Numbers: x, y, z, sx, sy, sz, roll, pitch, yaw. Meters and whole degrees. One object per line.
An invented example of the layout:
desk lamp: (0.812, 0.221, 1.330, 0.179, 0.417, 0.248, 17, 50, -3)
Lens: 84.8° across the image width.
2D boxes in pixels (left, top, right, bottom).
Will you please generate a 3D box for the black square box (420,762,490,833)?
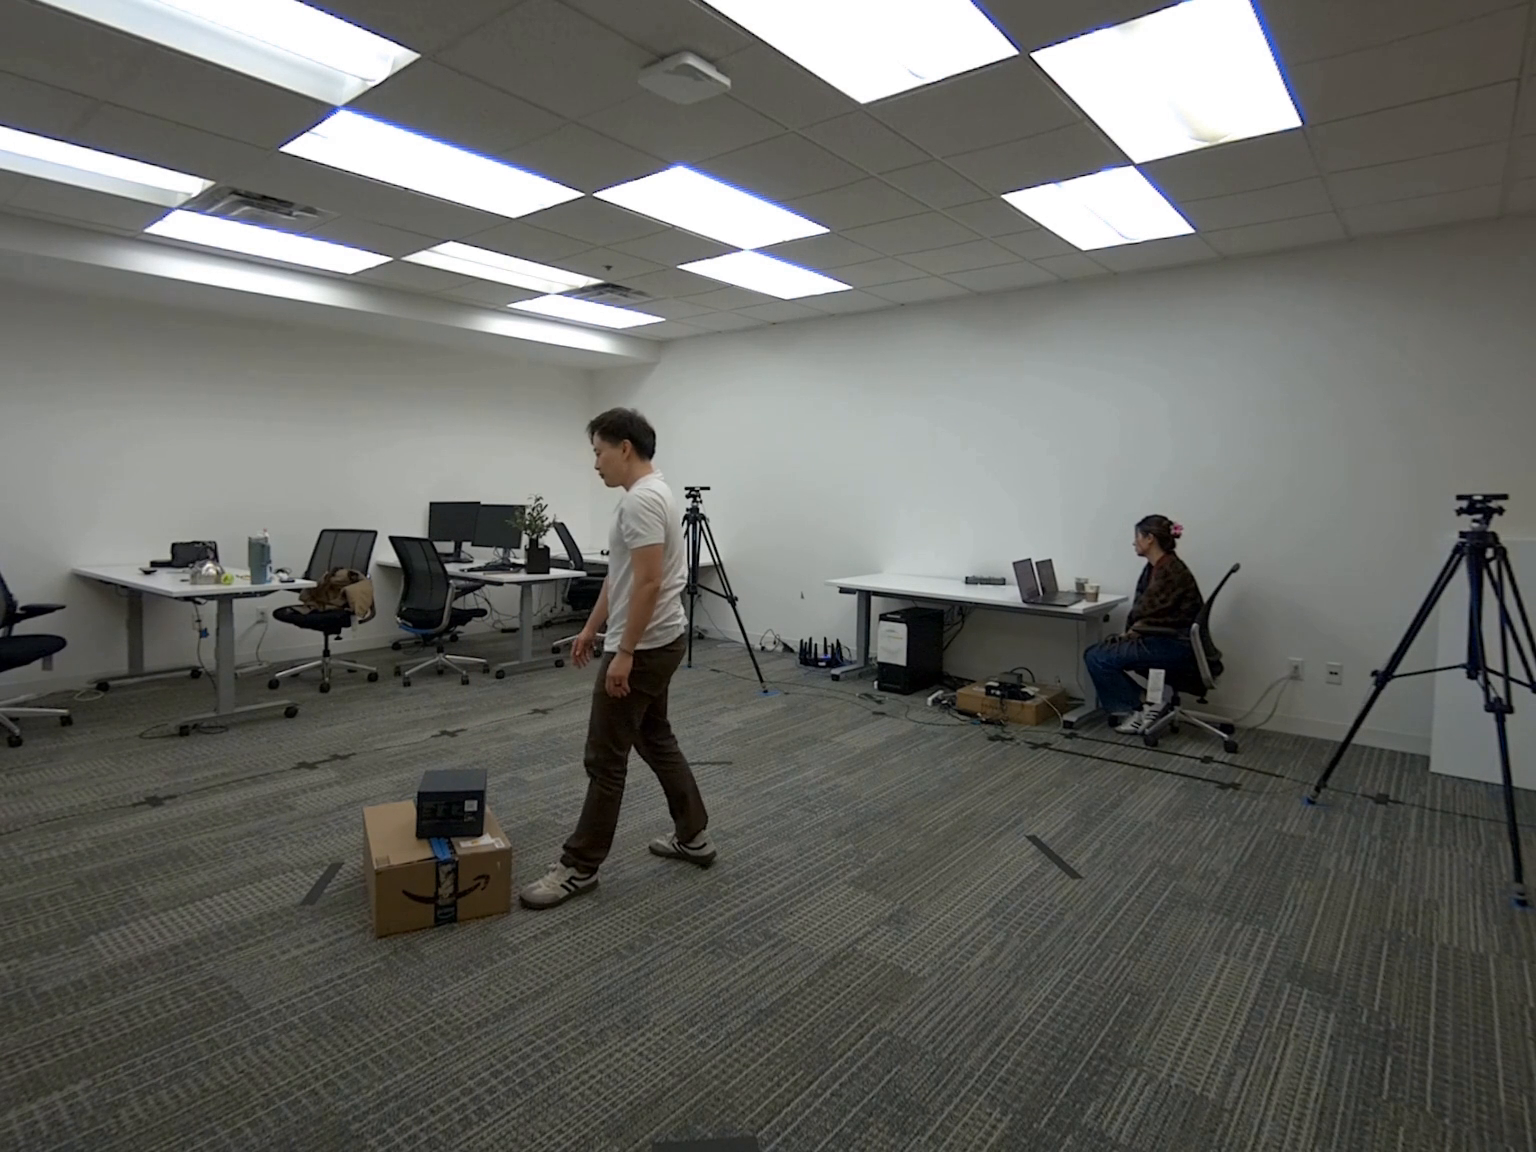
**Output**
black square box: (-1.086, 0.765, 2.927, 0.213, 0.155, 0.232, 0, 4, -16)
